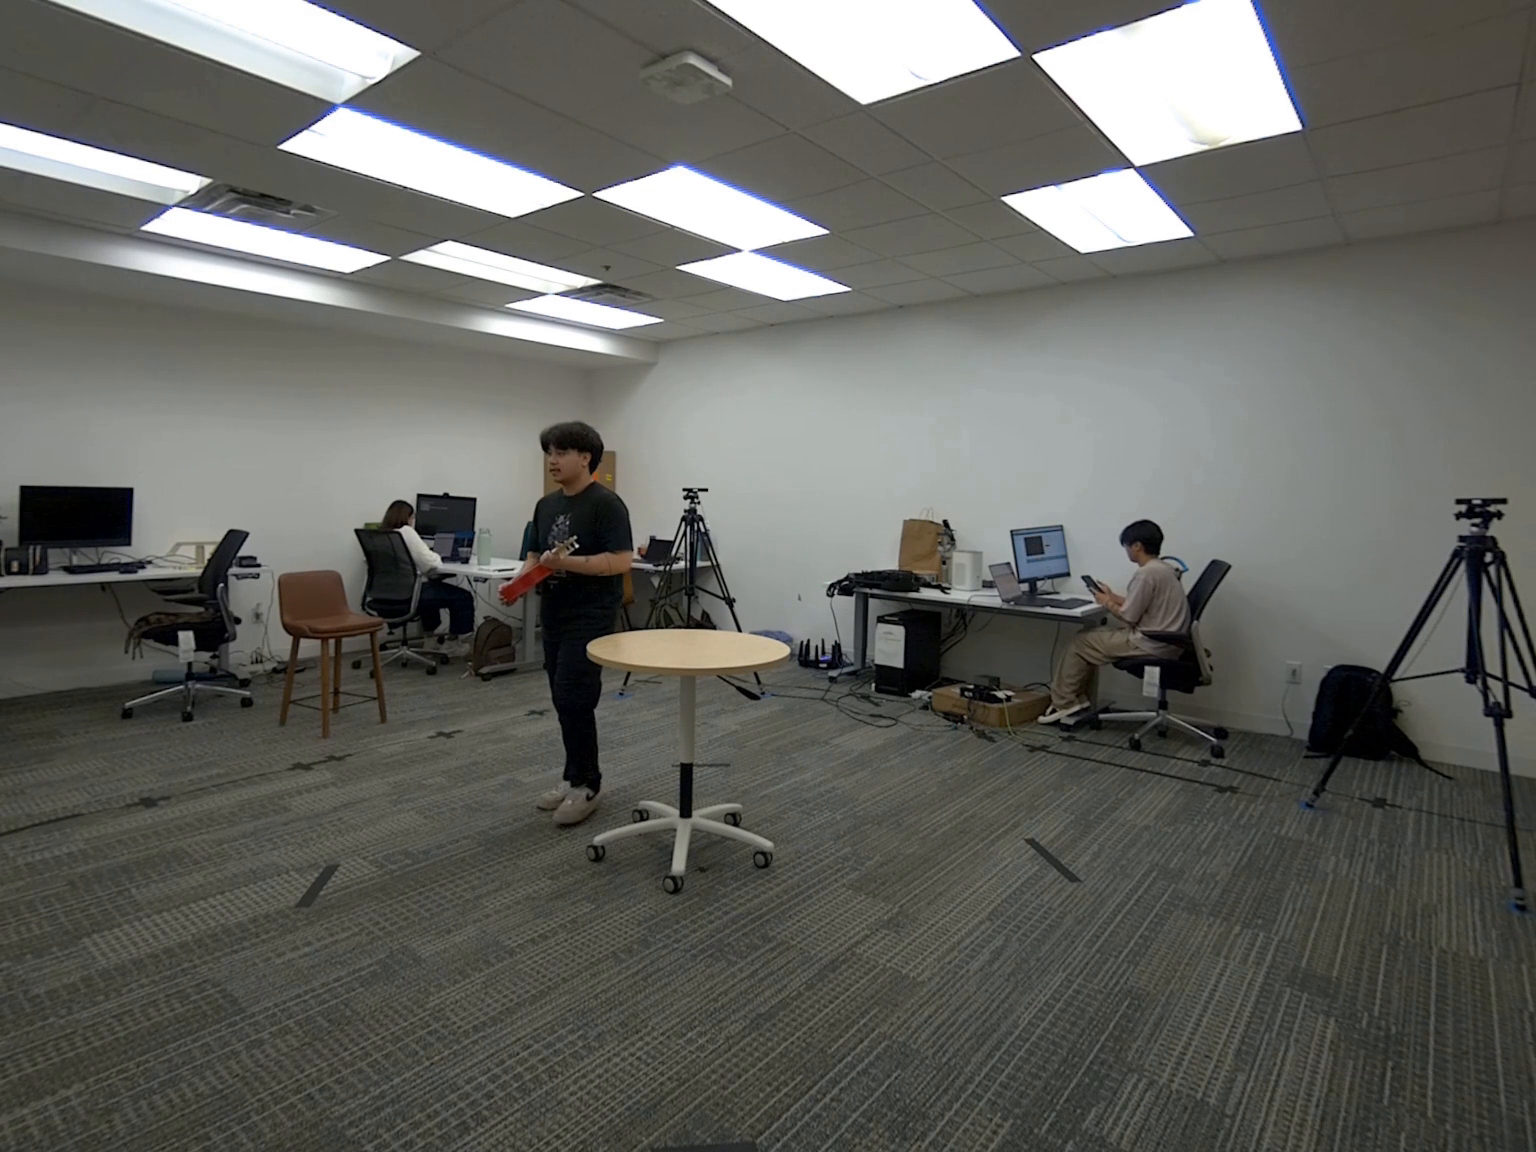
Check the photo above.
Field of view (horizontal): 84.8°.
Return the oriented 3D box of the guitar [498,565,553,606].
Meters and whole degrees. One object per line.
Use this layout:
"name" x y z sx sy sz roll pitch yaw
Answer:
"guitar" -0.953 -0.023 3.437 0.505 0.070 0.192 -27 12 47
